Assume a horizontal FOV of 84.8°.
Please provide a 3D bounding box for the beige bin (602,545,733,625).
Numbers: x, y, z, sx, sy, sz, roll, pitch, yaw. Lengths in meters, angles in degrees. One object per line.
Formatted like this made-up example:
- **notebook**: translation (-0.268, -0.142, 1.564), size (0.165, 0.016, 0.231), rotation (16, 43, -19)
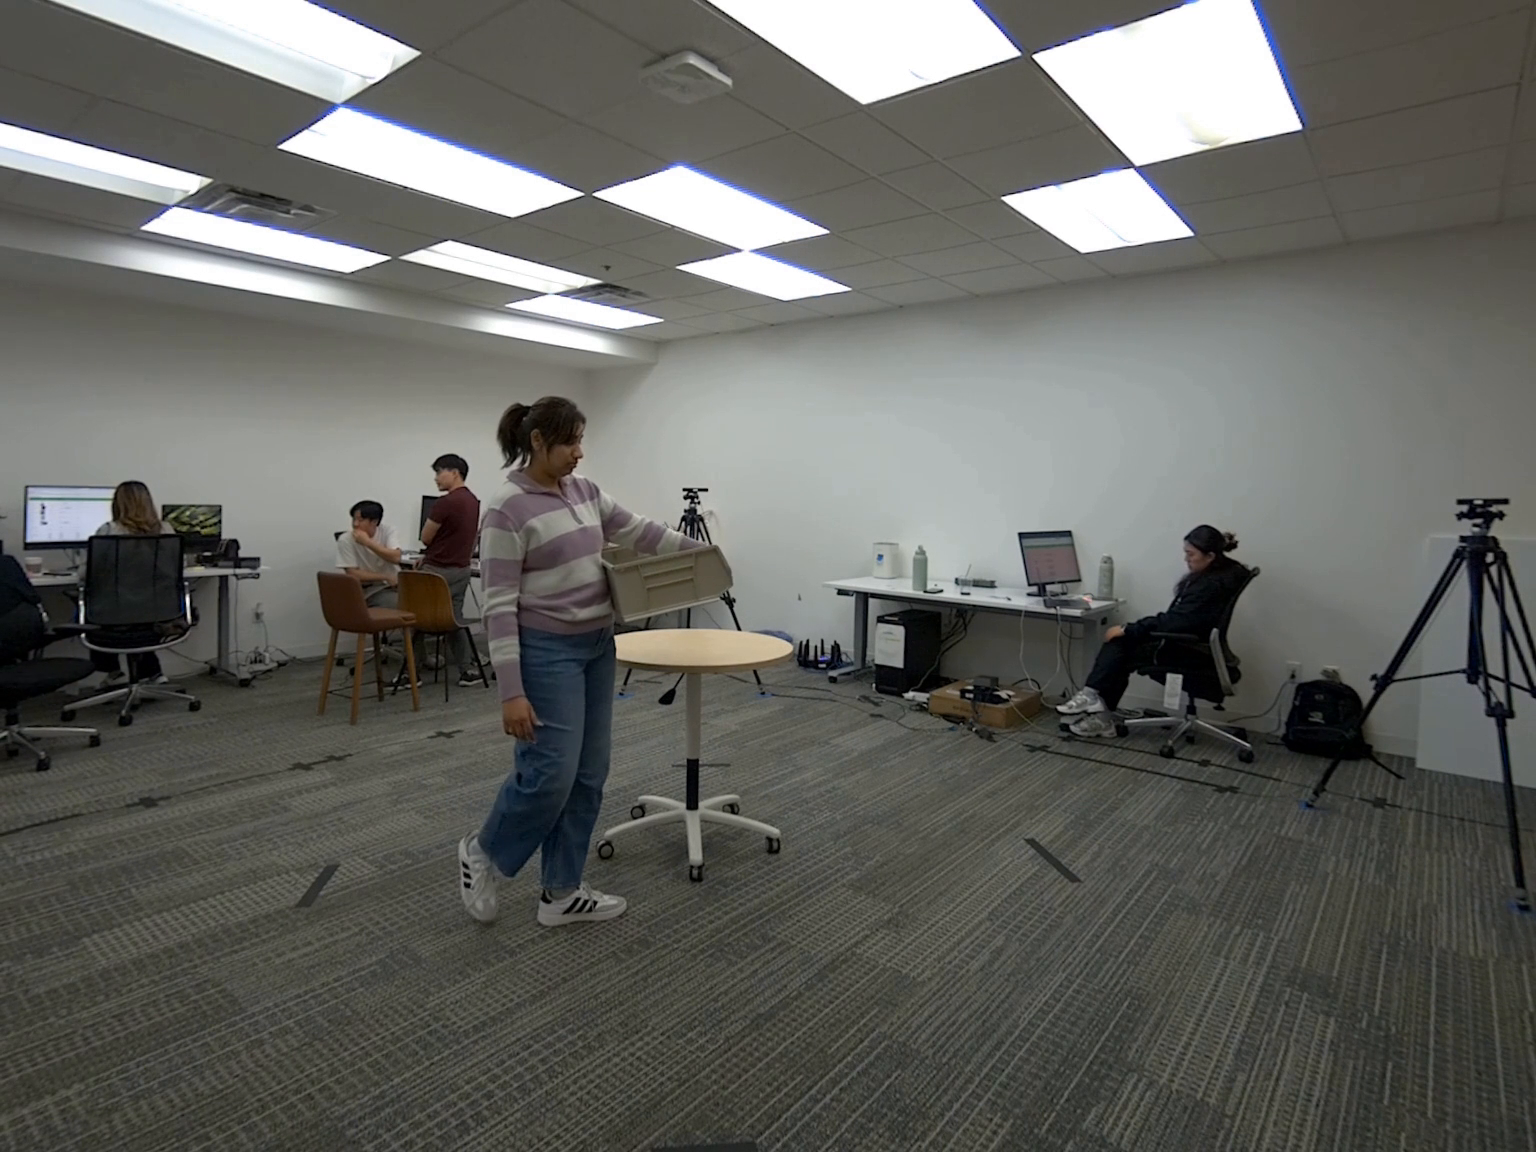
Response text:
- **beige bin**: translation (-0.378, -0.001, 2.819), size (0.372, 0.187, 0.433), rotation (-14, 12, -19)
